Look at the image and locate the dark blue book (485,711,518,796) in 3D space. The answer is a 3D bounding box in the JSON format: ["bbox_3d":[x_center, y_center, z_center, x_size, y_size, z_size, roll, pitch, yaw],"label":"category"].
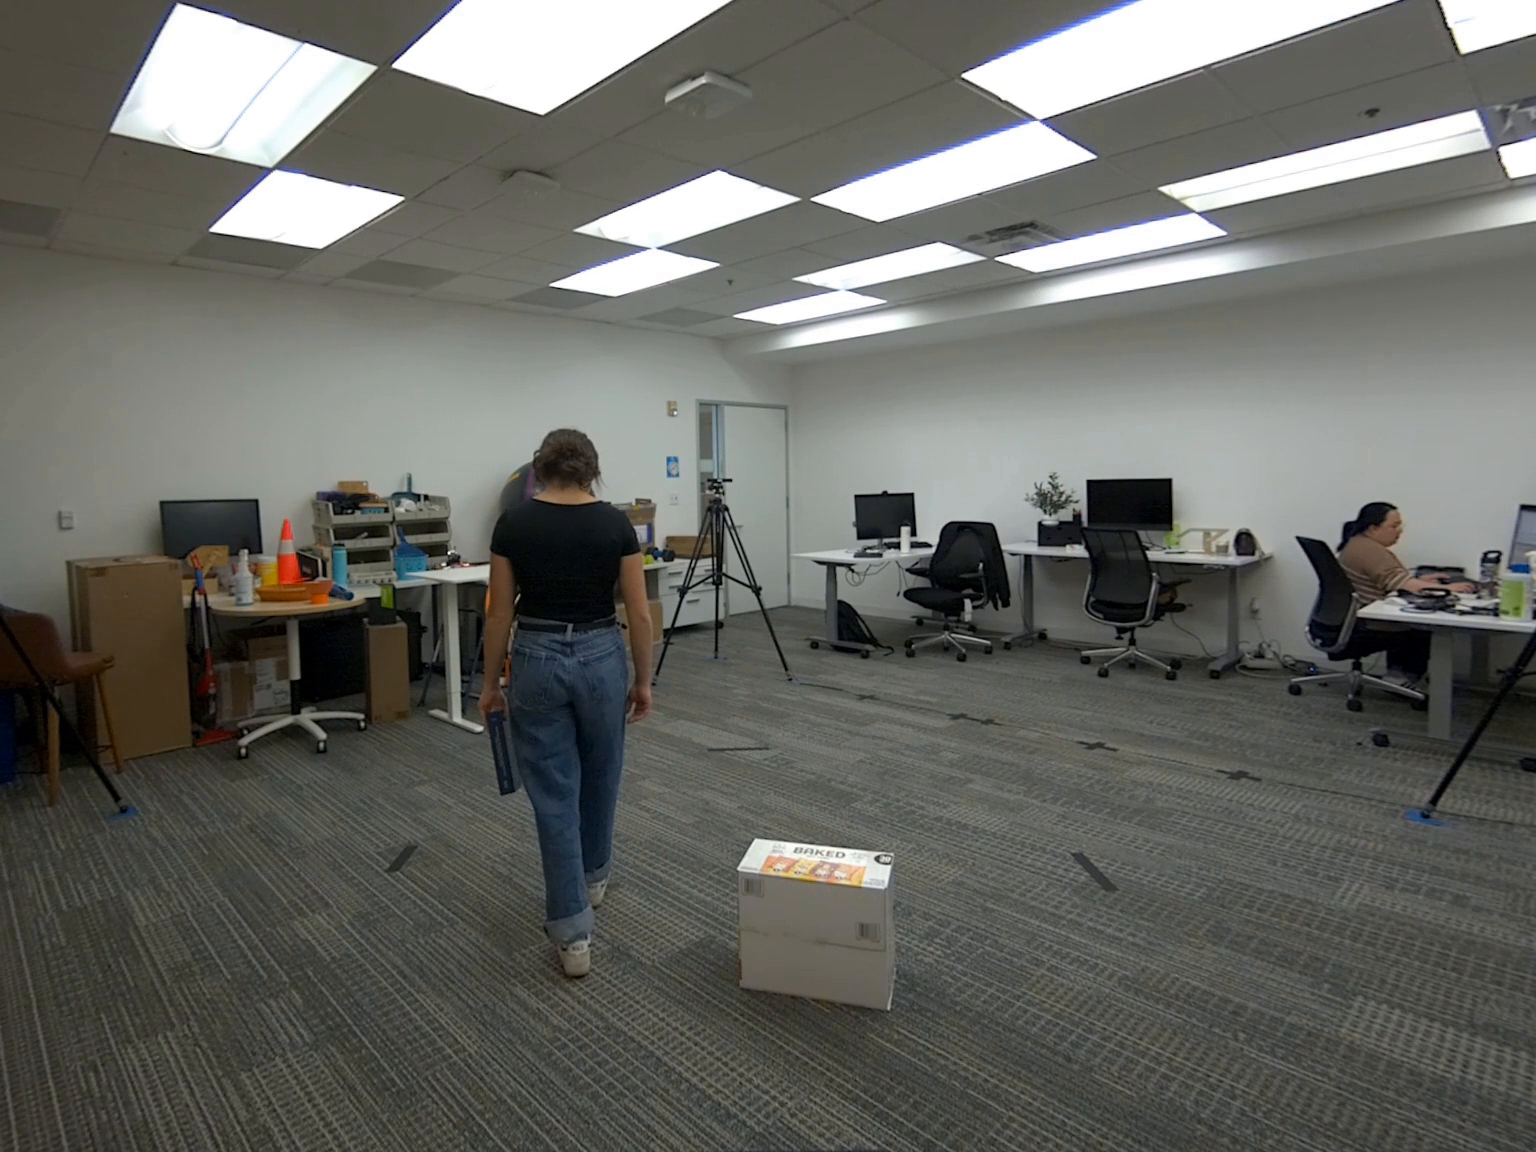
[{"bbox_3d":[-0.792,0.533,2.592,0.045,0.247,0.163,-9,-7,-11],"label":"dark blue book"}]
